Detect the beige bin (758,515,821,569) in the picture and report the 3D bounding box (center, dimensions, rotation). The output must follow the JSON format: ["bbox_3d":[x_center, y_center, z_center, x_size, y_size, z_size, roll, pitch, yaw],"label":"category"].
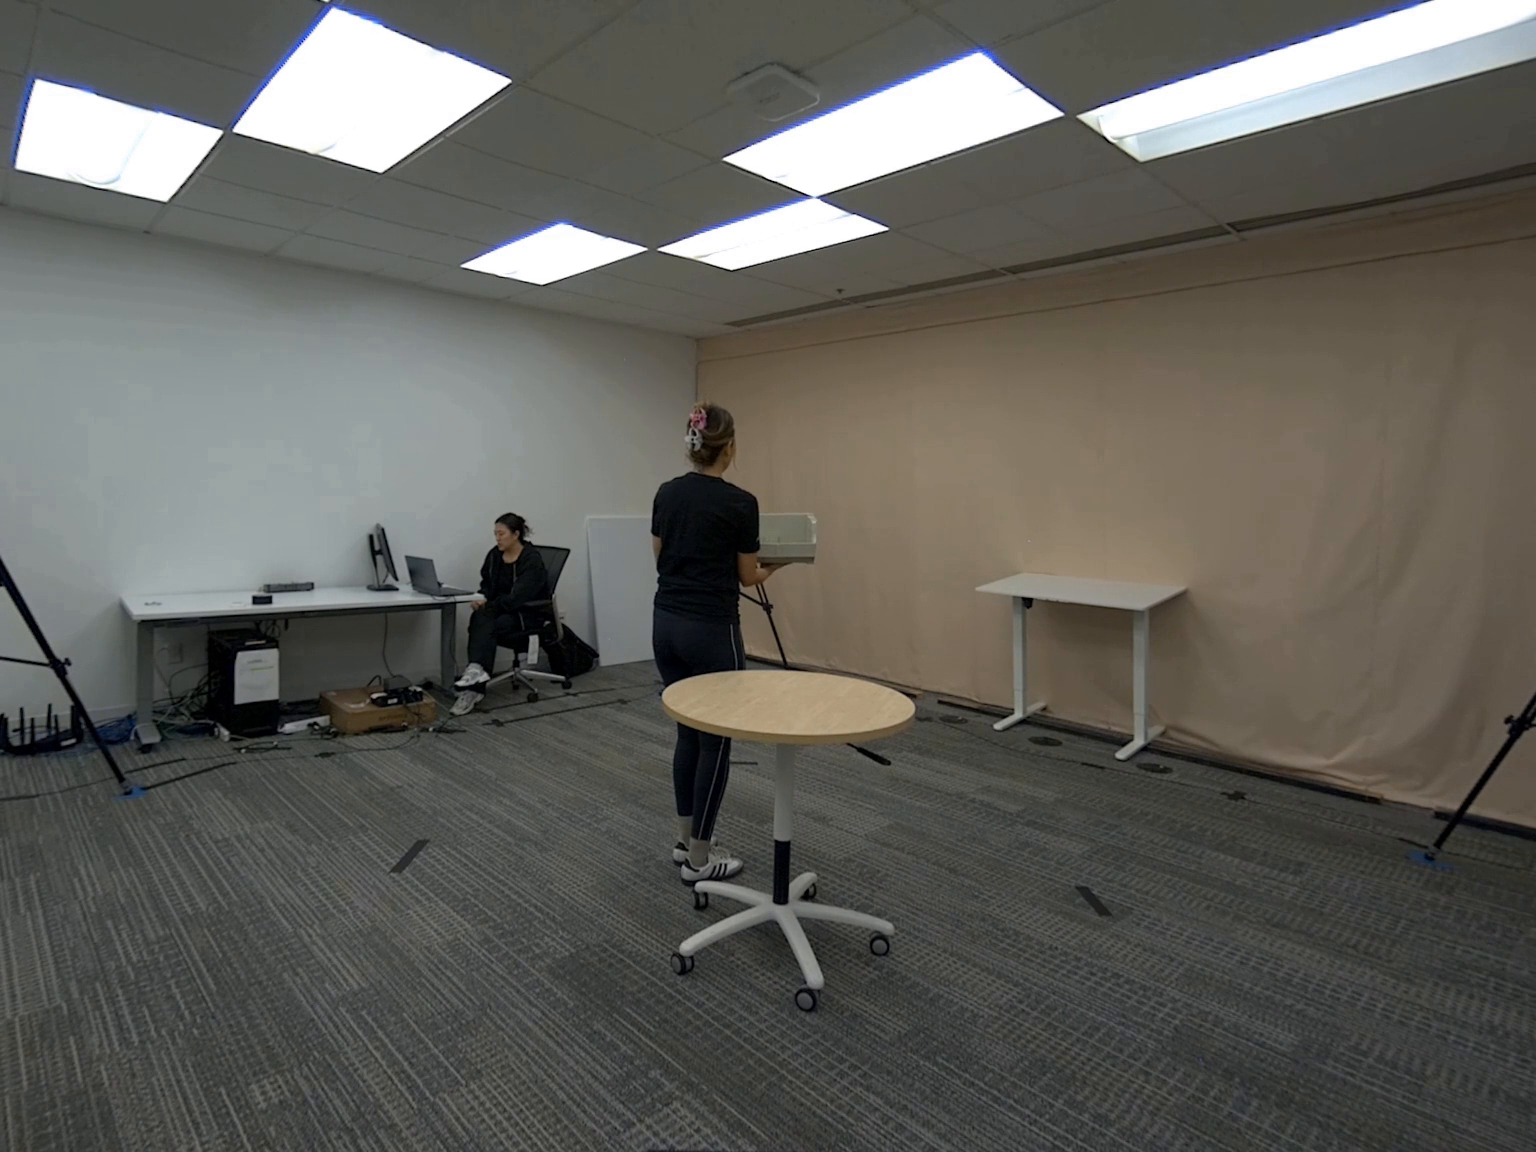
[{"bbox_3d":[-0.013,-0.148,3.492,0.423,0.188,0.378,1,6,1],"label":"beige bin"}]
